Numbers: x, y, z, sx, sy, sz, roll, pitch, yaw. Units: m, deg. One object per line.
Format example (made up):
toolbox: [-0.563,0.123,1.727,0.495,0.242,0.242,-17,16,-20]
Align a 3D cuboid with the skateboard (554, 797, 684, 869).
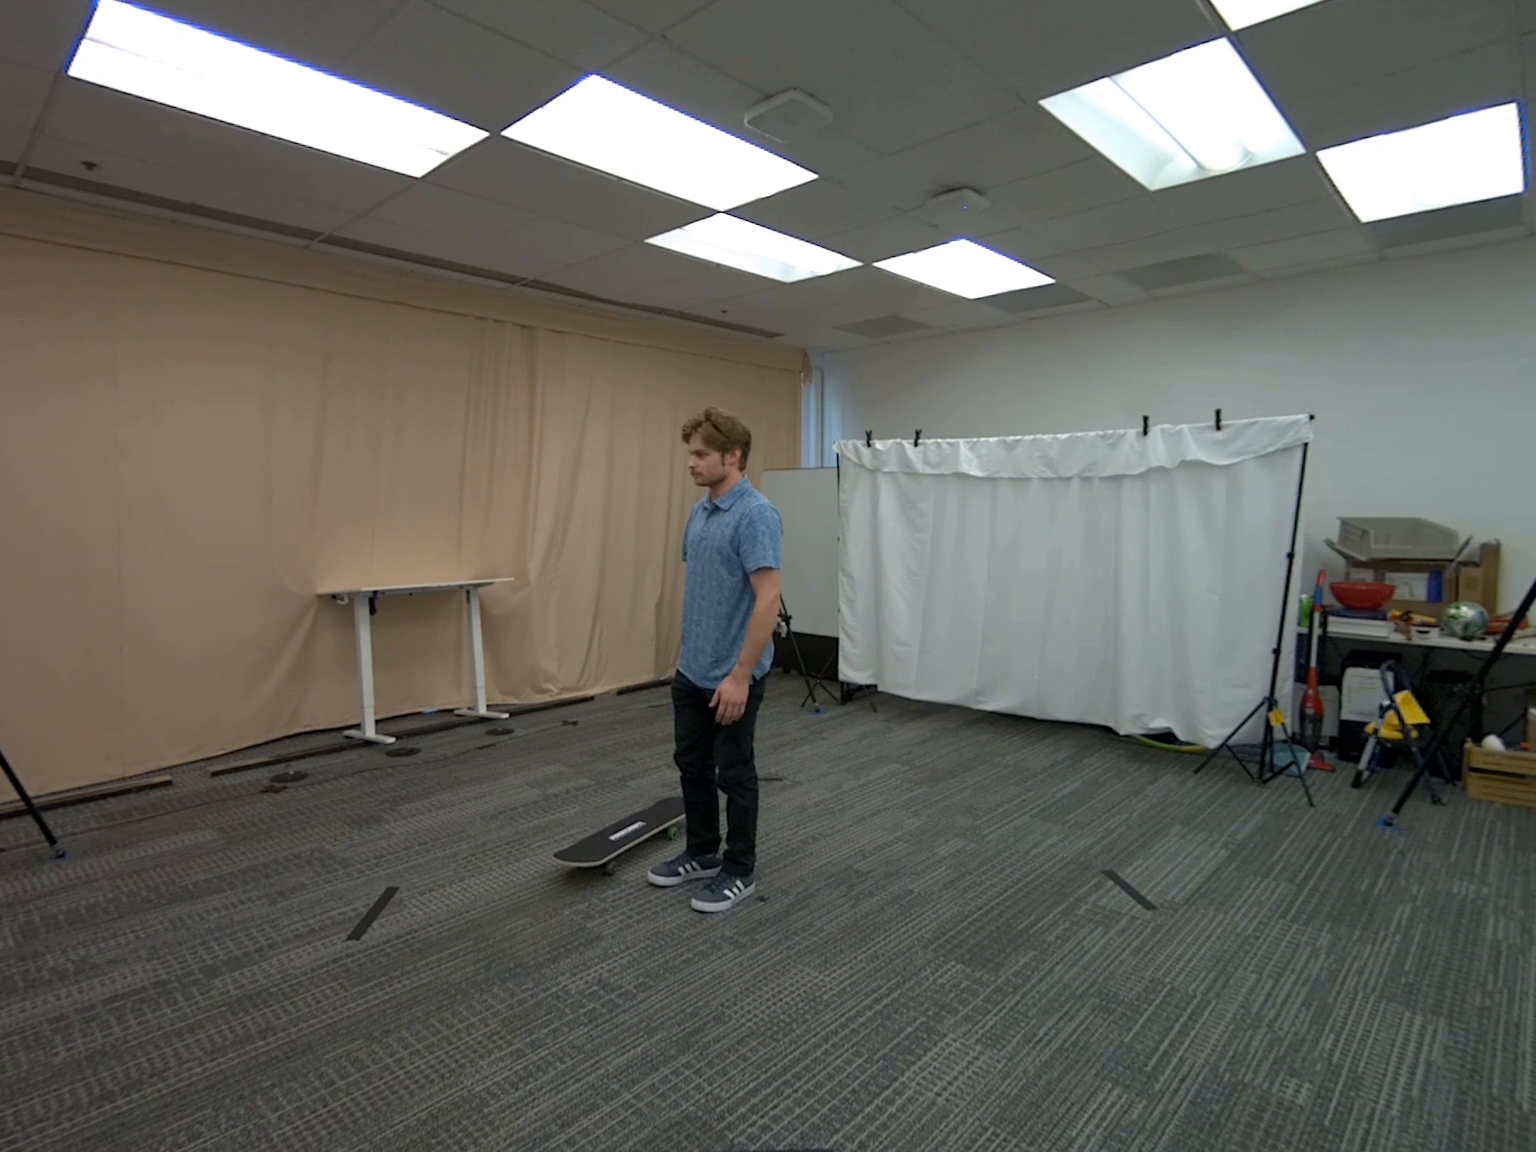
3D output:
skateboard: [-0.572,1.062,3.397,0.199,0.110,0.765,2,5,29]
